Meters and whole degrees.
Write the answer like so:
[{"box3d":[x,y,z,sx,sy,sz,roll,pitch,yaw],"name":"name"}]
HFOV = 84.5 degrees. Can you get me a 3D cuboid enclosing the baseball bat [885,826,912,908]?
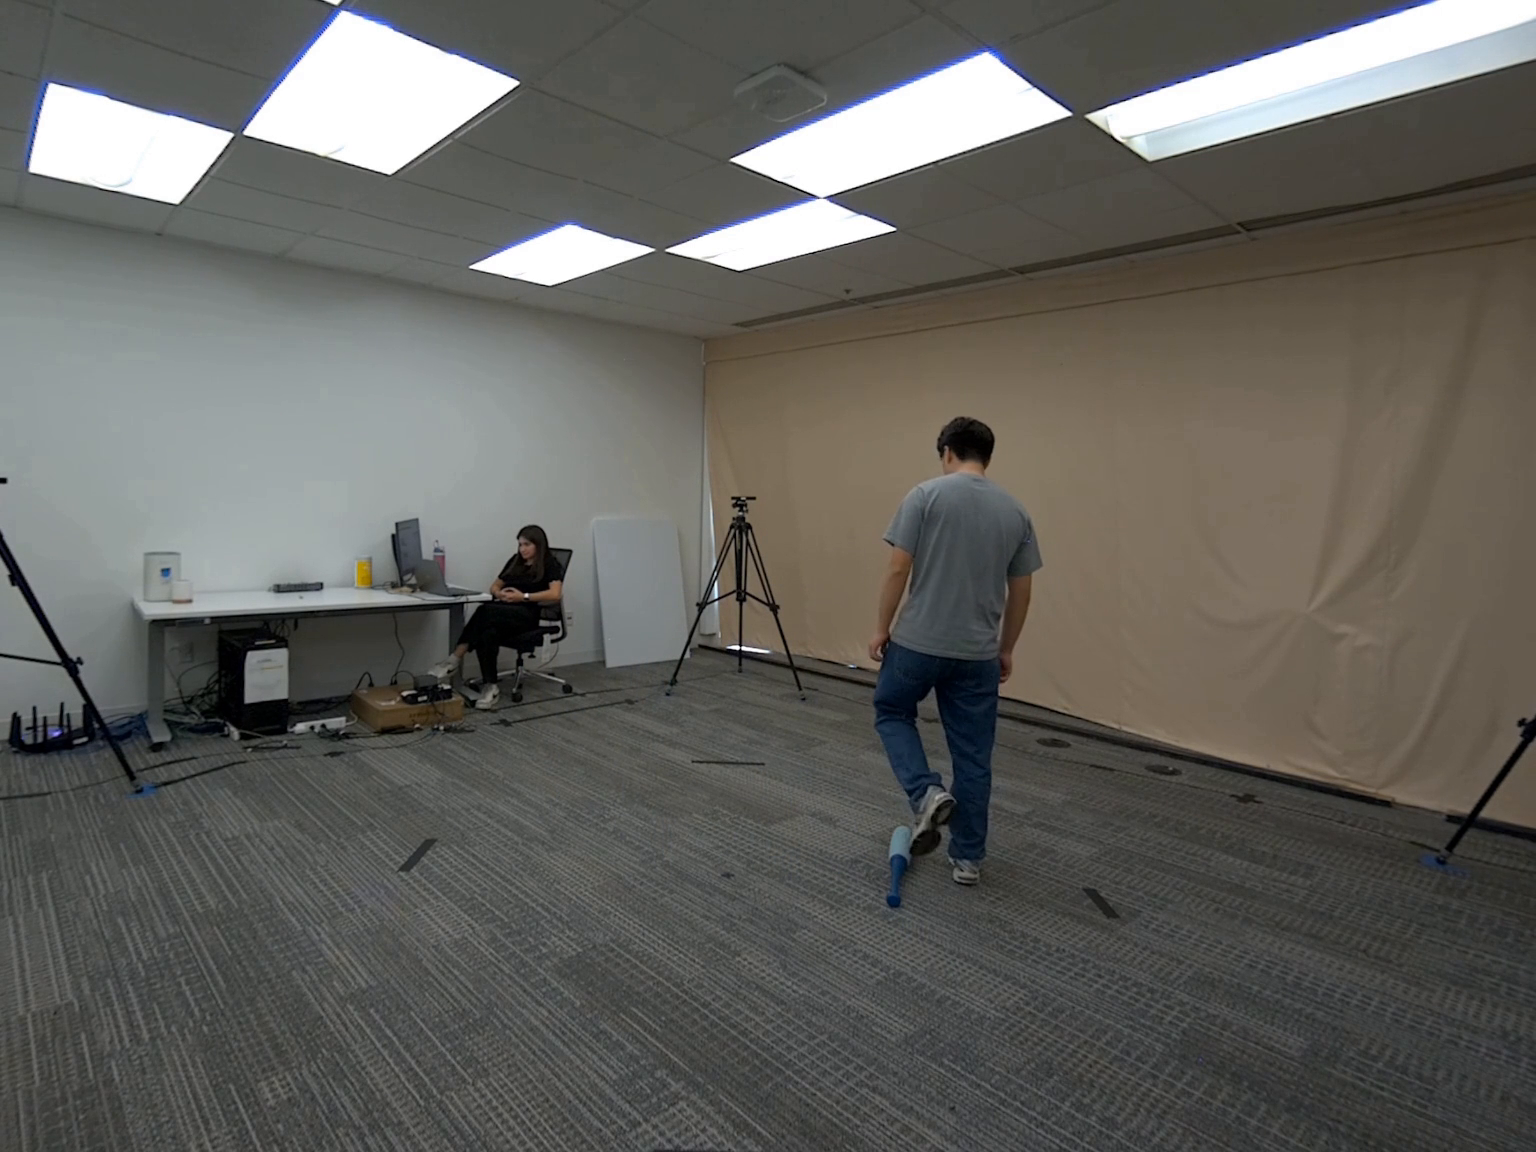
[{"box3d":[0.483,1.081,3.140,0.090,0.088,0.540,2,8,12],"name":"baseball bat"}]
